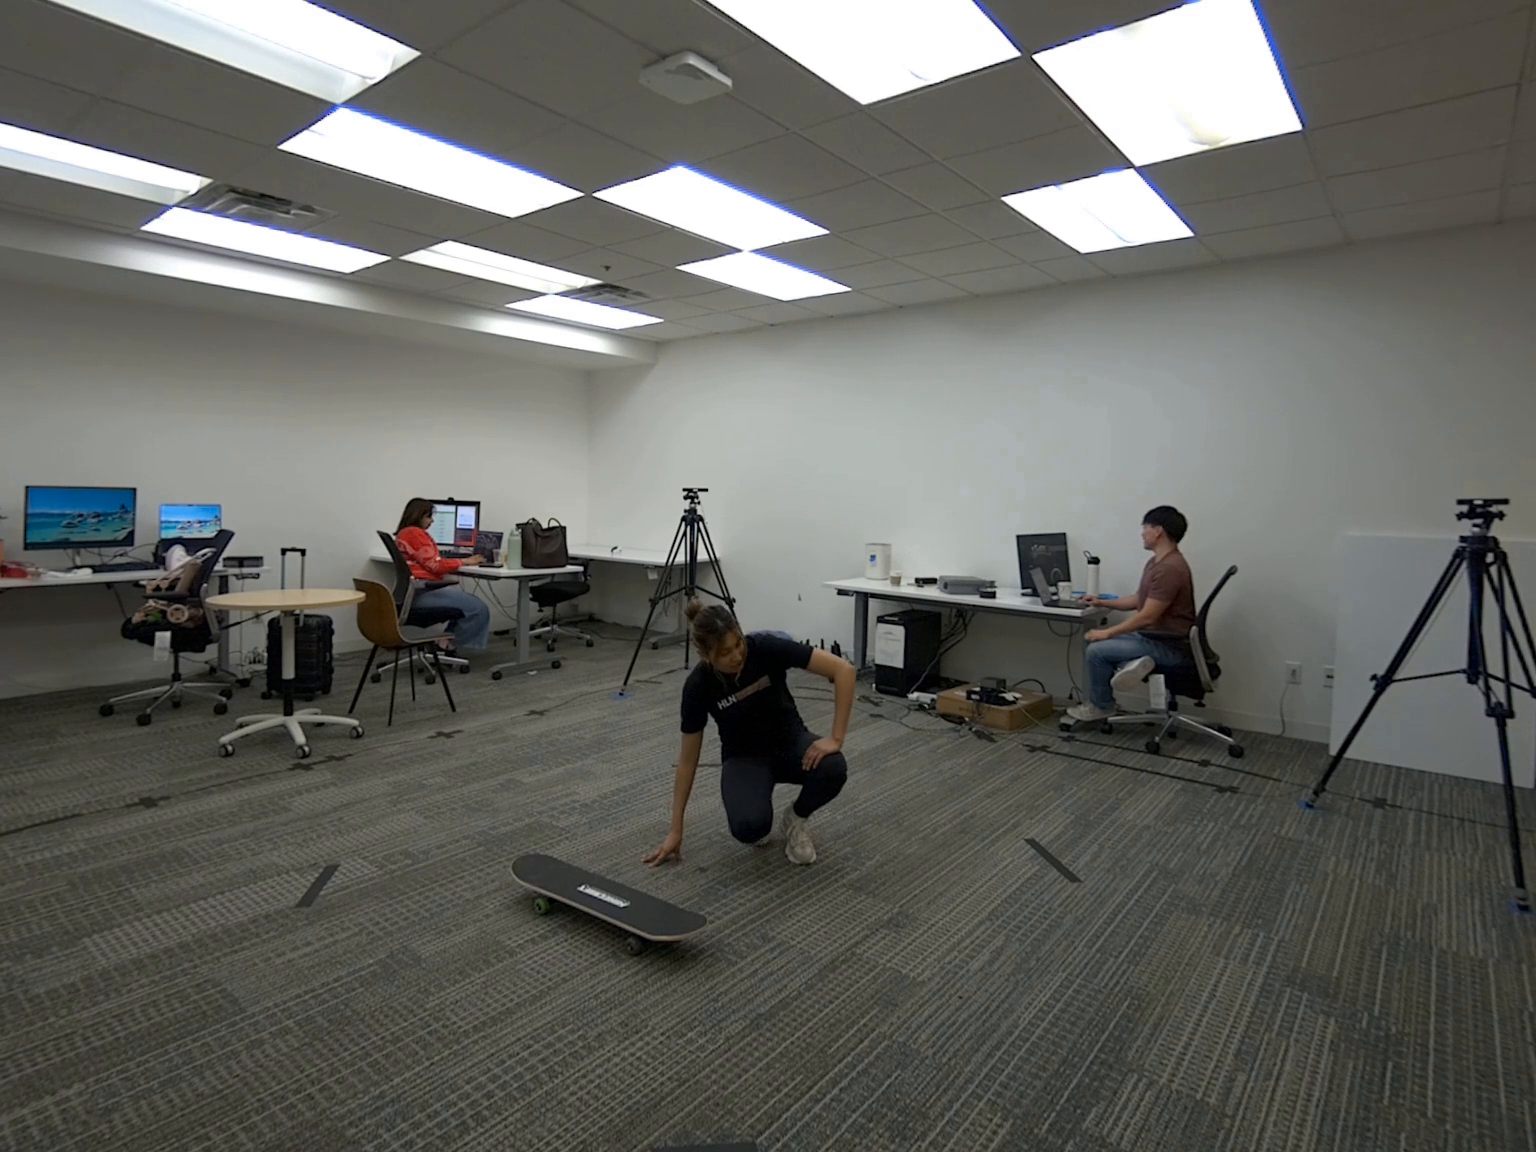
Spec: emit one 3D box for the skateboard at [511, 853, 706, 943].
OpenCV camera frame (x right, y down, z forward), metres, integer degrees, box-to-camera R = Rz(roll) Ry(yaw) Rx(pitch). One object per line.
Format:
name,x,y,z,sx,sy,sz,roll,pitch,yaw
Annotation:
skateboard,-0.540,1.044,2.703,0.810,0.110,0.188,4,5,34
